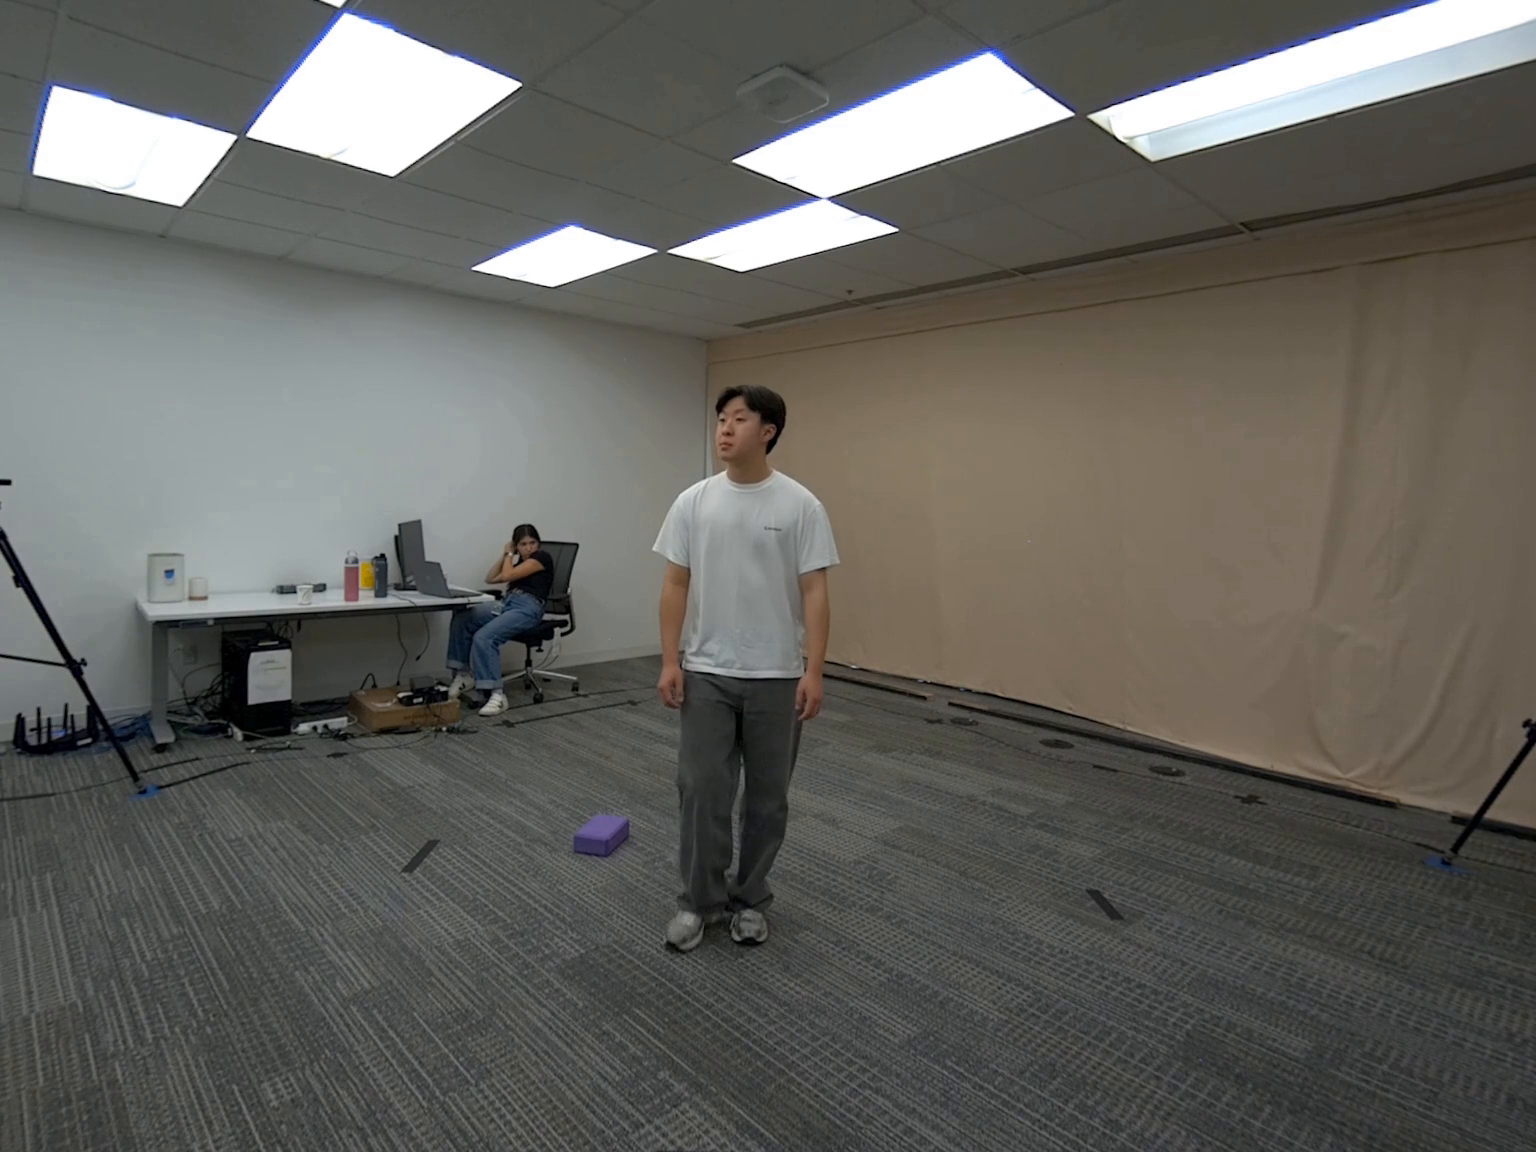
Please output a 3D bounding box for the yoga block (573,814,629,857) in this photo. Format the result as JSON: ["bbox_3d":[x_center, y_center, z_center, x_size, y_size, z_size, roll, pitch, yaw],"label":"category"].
[{"bbox_3d":[-0.673,1.035,3.357,0.151,0.076,0.227,4,6,15],"label":"yoga block"}]
